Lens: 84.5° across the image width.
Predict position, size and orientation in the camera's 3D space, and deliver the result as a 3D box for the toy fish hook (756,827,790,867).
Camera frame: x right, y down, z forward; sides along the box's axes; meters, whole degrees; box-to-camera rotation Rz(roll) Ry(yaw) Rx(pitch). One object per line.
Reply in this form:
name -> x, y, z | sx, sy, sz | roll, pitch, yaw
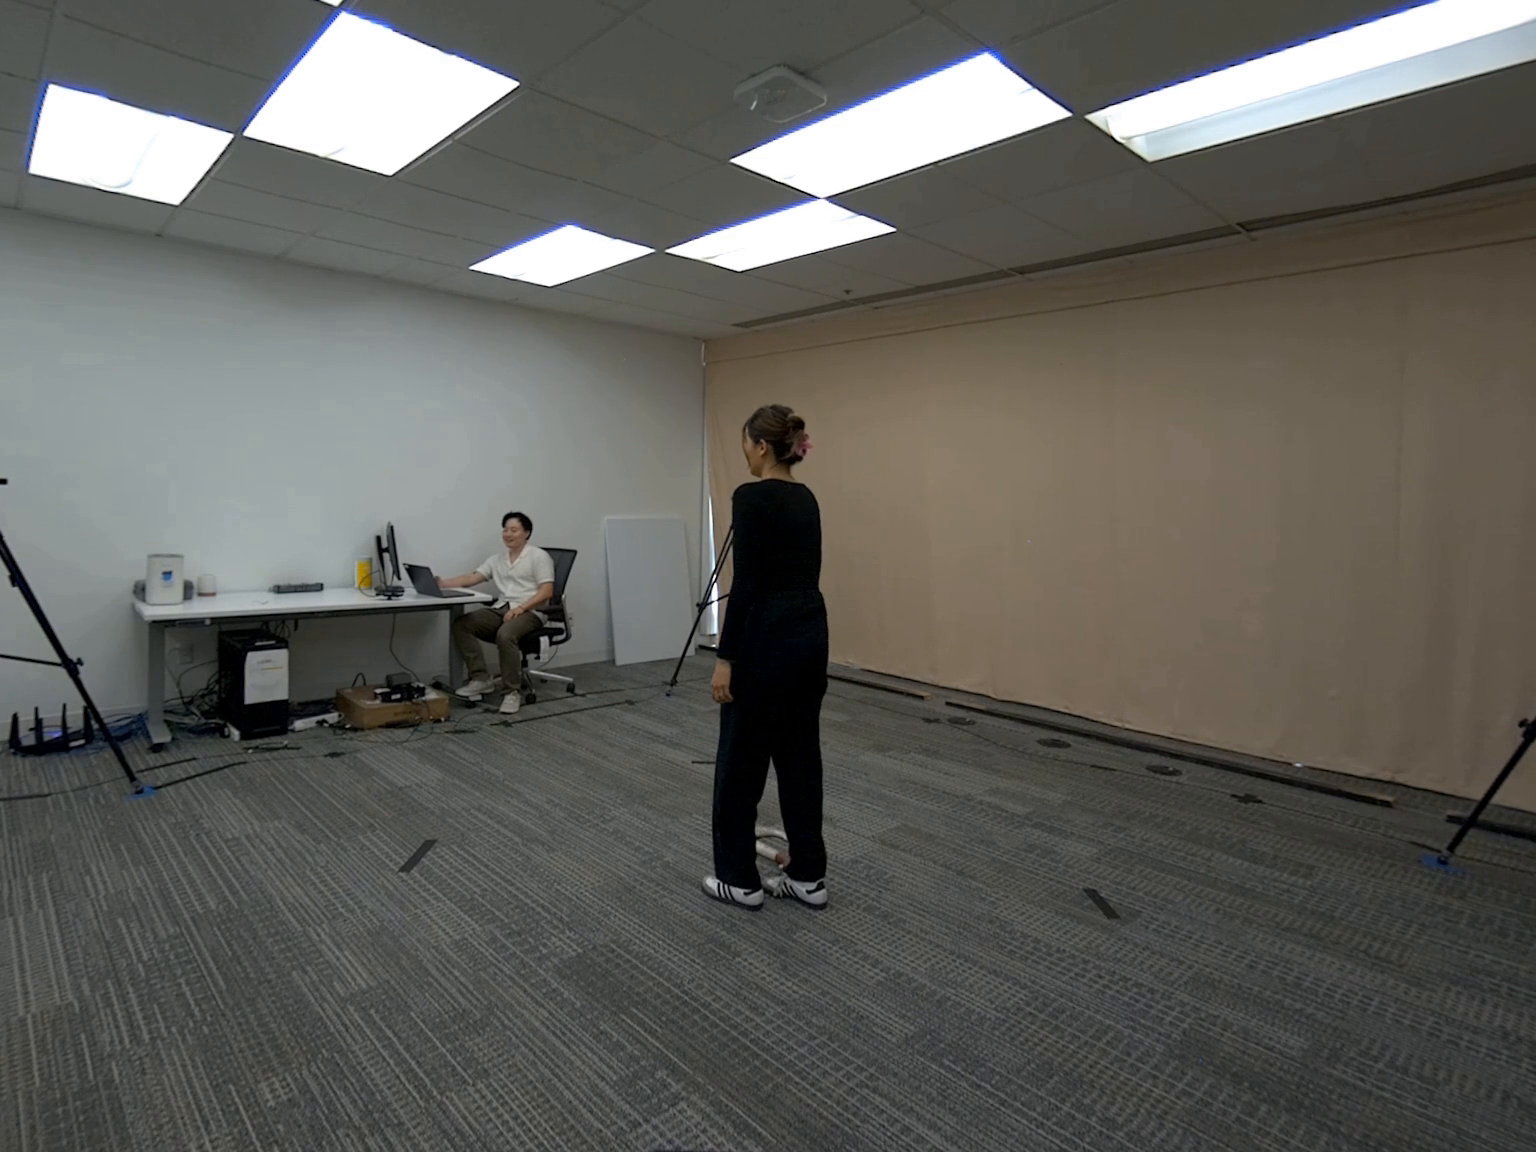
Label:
toy fish hook -> 0.054, 1.078, 3.285 | 0.220, 0.048, 0.517 | -2, 6, -27
